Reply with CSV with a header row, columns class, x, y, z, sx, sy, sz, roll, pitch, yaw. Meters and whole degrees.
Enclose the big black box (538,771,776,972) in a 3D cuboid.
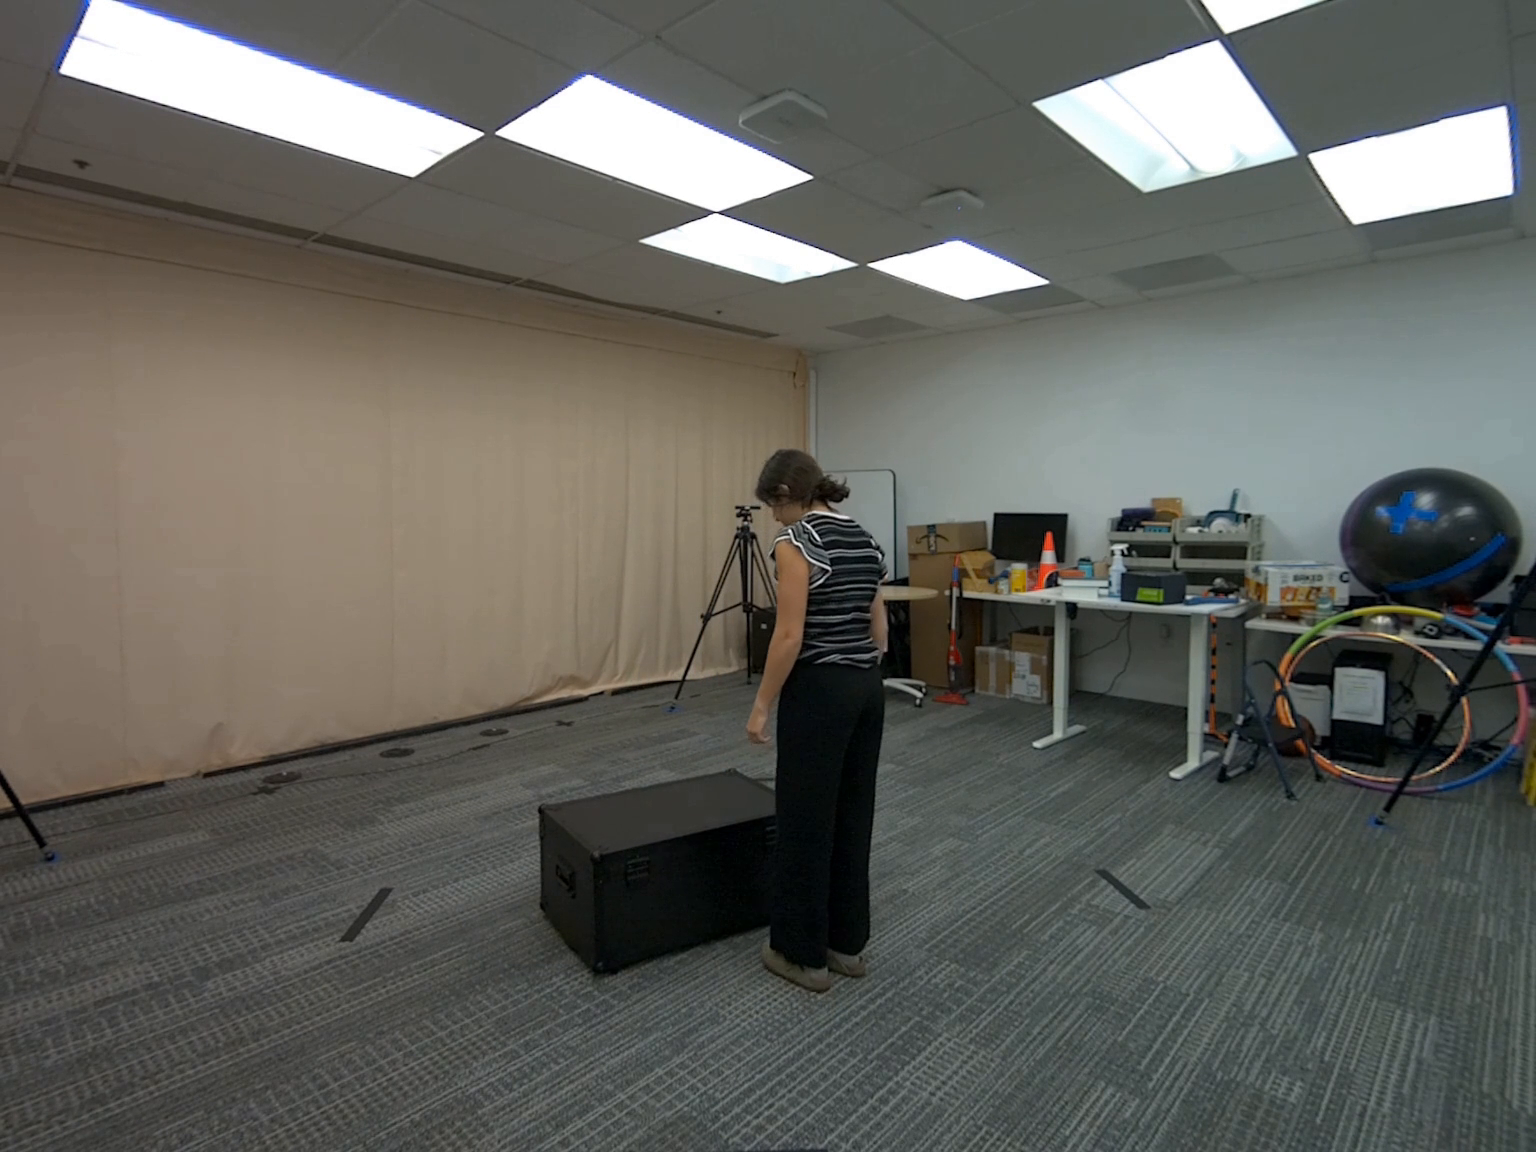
class,x,y,z,sx,sy,sz,roll,pitch,yaw
big black box,-0.291,0.965,2.872,0.837,0.395,0.537,-3,5,-33
